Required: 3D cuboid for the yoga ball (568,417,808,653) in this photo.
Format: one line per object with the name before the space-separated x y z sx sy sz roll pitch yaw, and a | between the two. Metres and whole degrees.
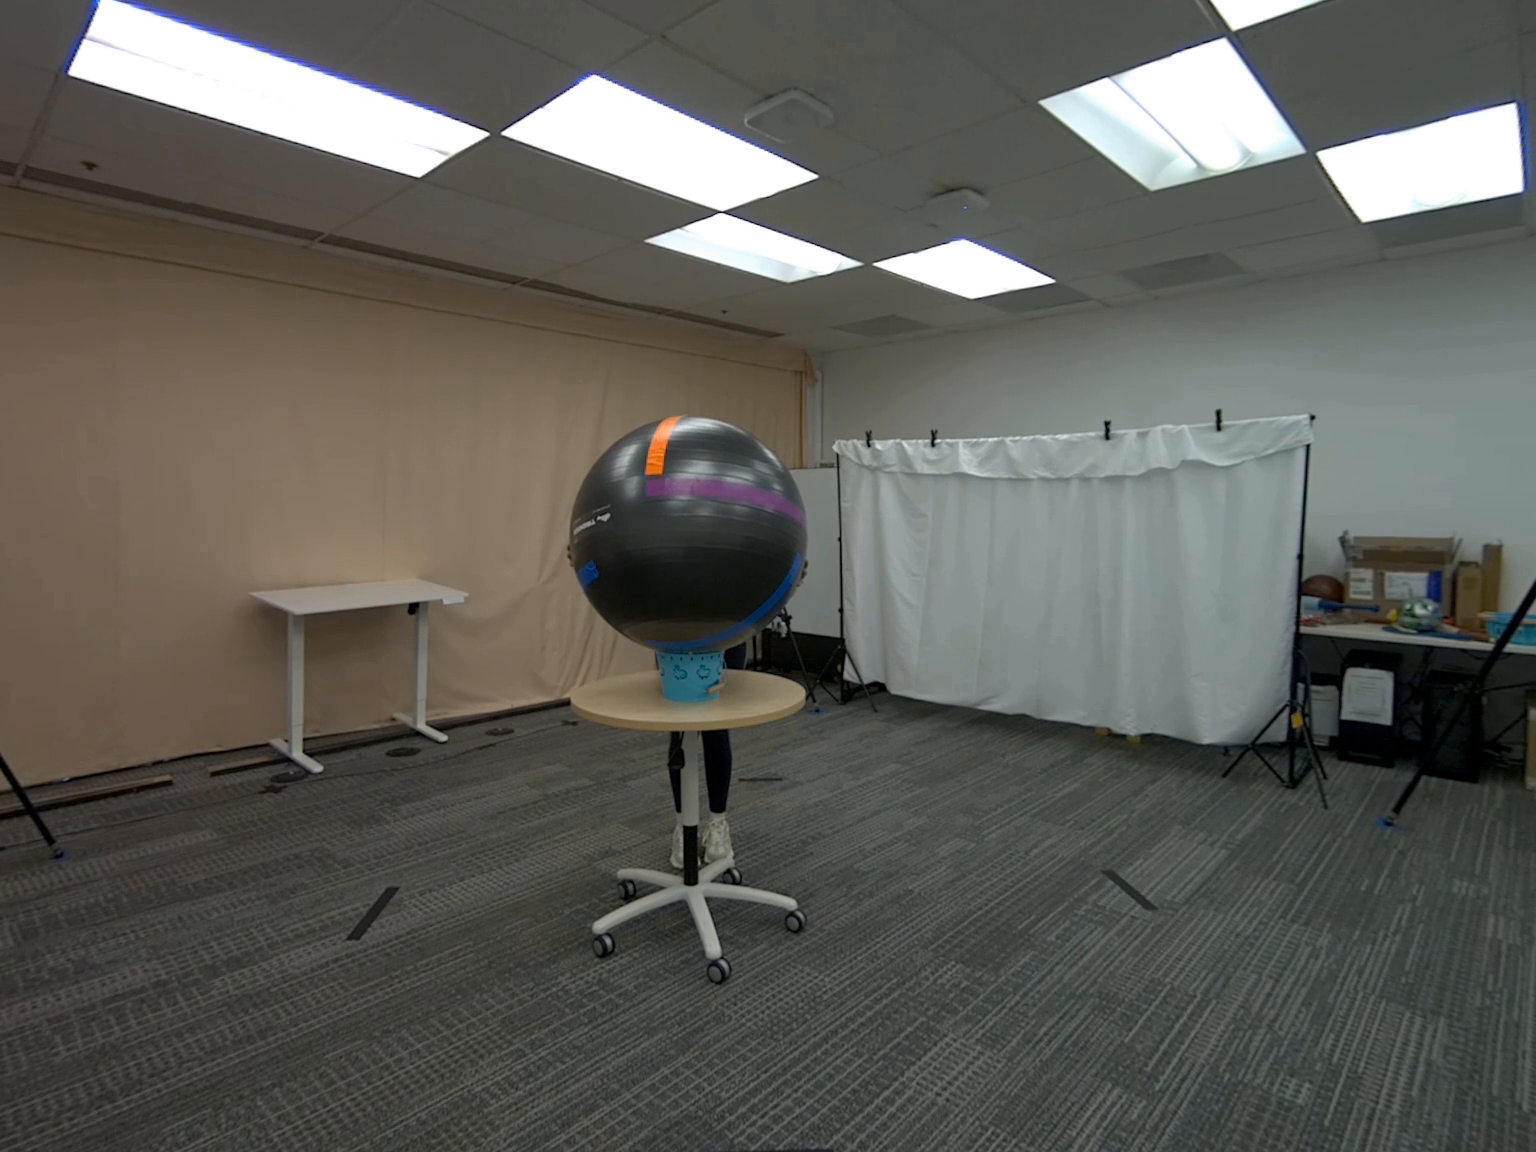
yoga ball | -0.257 -0.122 2.677 0.757 0.756 0.761 0 4 -2
